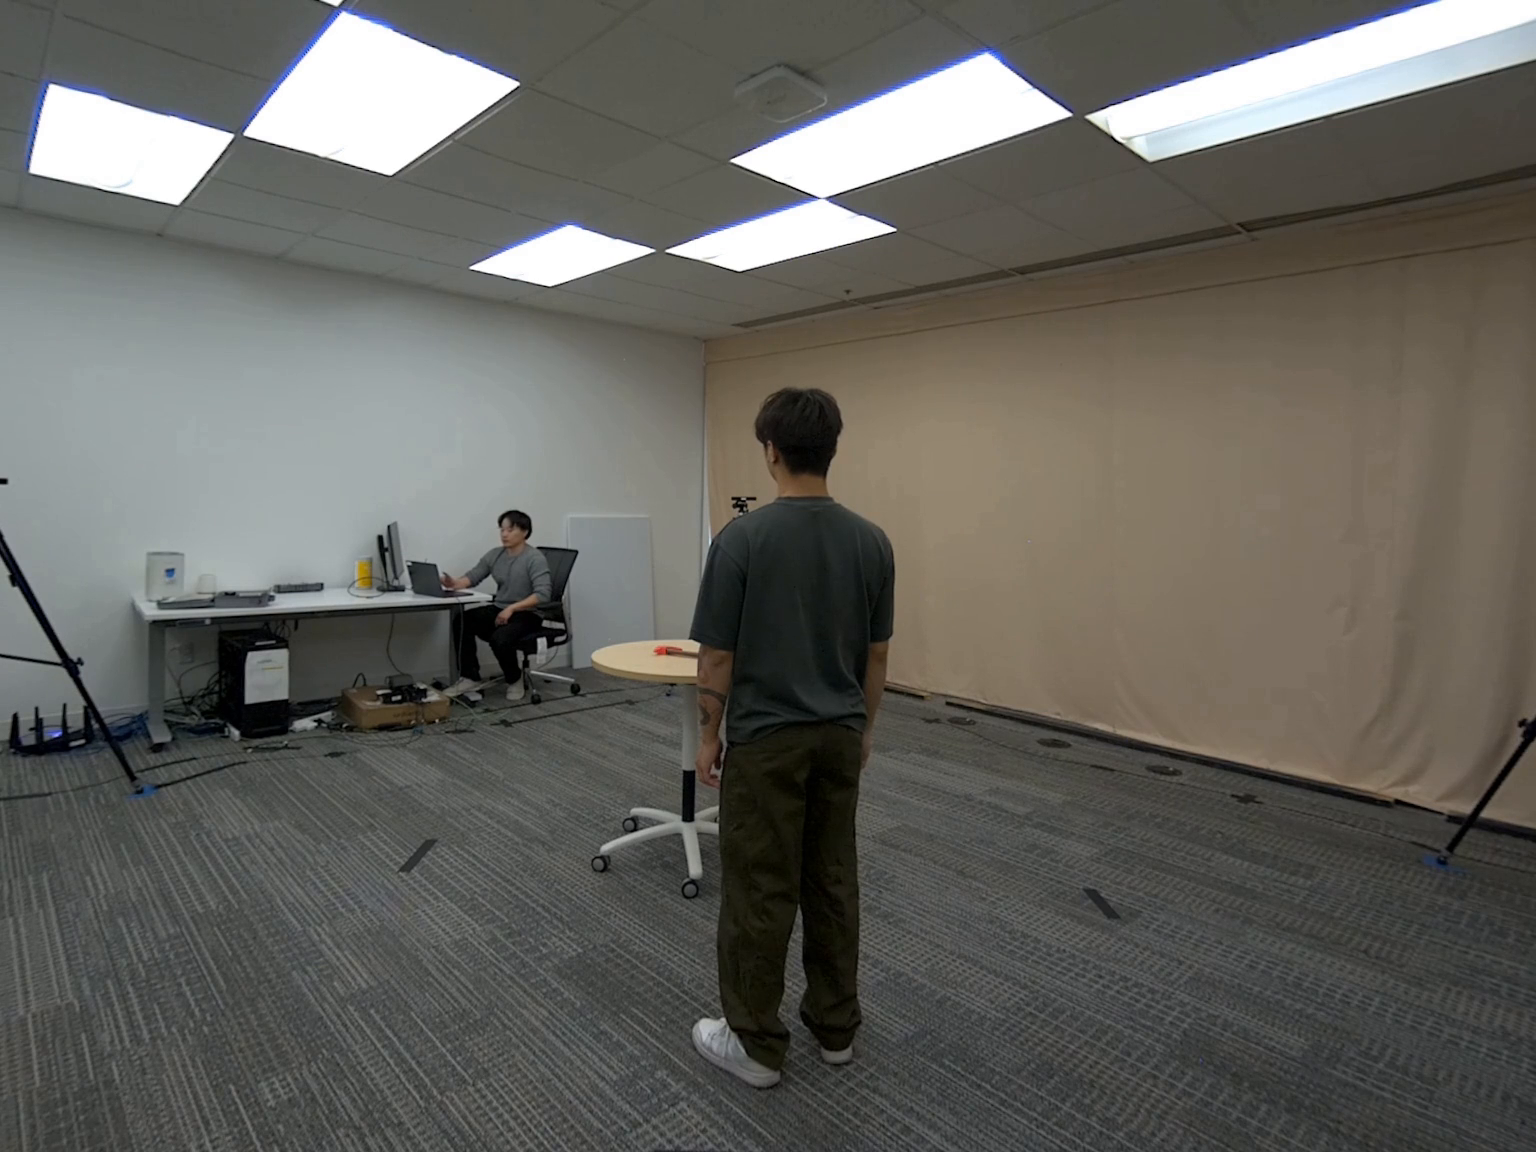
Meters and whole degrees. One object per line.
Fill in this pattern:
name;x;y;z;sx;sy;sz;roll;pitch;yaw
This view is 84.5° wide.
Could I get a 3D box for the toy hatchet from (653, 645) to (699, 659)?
toy hatchet;-0.306;0.296;3.236;0.273;0.029;0.129;4;1;13
